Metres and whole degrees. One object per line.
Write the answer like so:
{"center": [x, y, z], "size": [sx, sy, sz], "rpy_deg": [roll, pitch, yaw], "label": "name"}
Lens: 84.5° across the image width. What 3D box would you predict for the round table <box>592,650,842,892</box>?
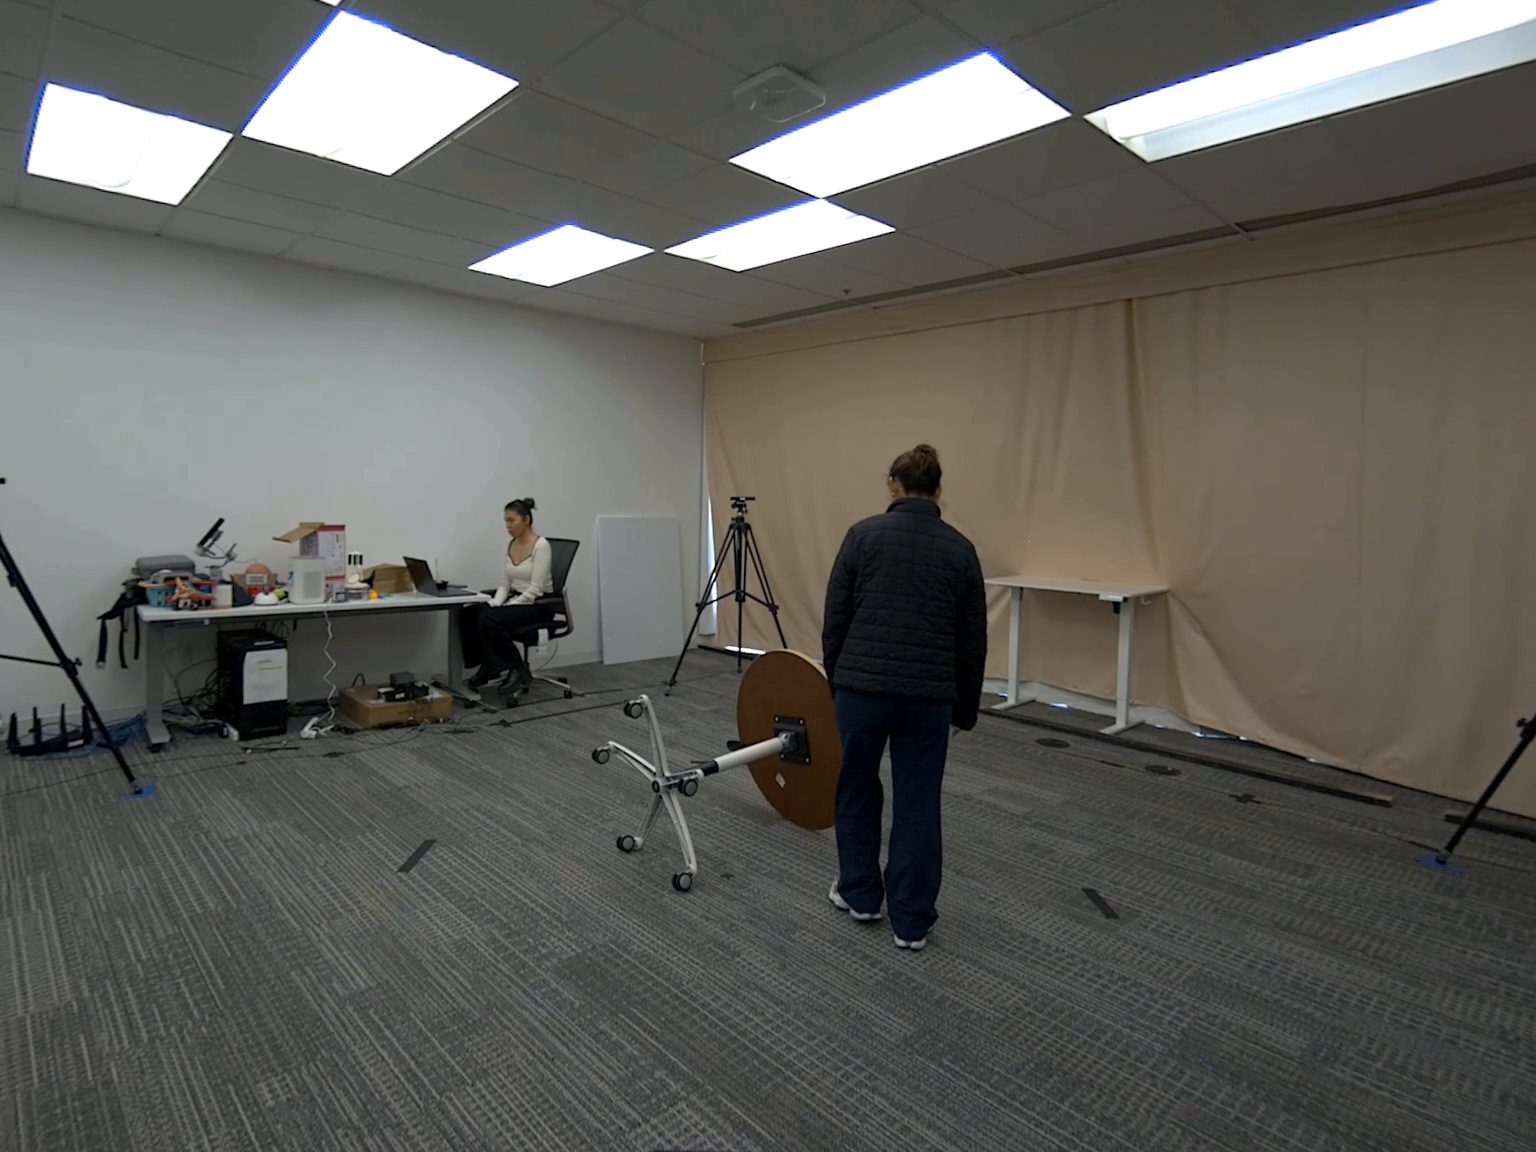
{"center": [-0.190, 0.747, 3.340], "size": [0.771, 0.781, 0.805], "rpy_deg": [-9, 9, -38], "label": "round table"}
